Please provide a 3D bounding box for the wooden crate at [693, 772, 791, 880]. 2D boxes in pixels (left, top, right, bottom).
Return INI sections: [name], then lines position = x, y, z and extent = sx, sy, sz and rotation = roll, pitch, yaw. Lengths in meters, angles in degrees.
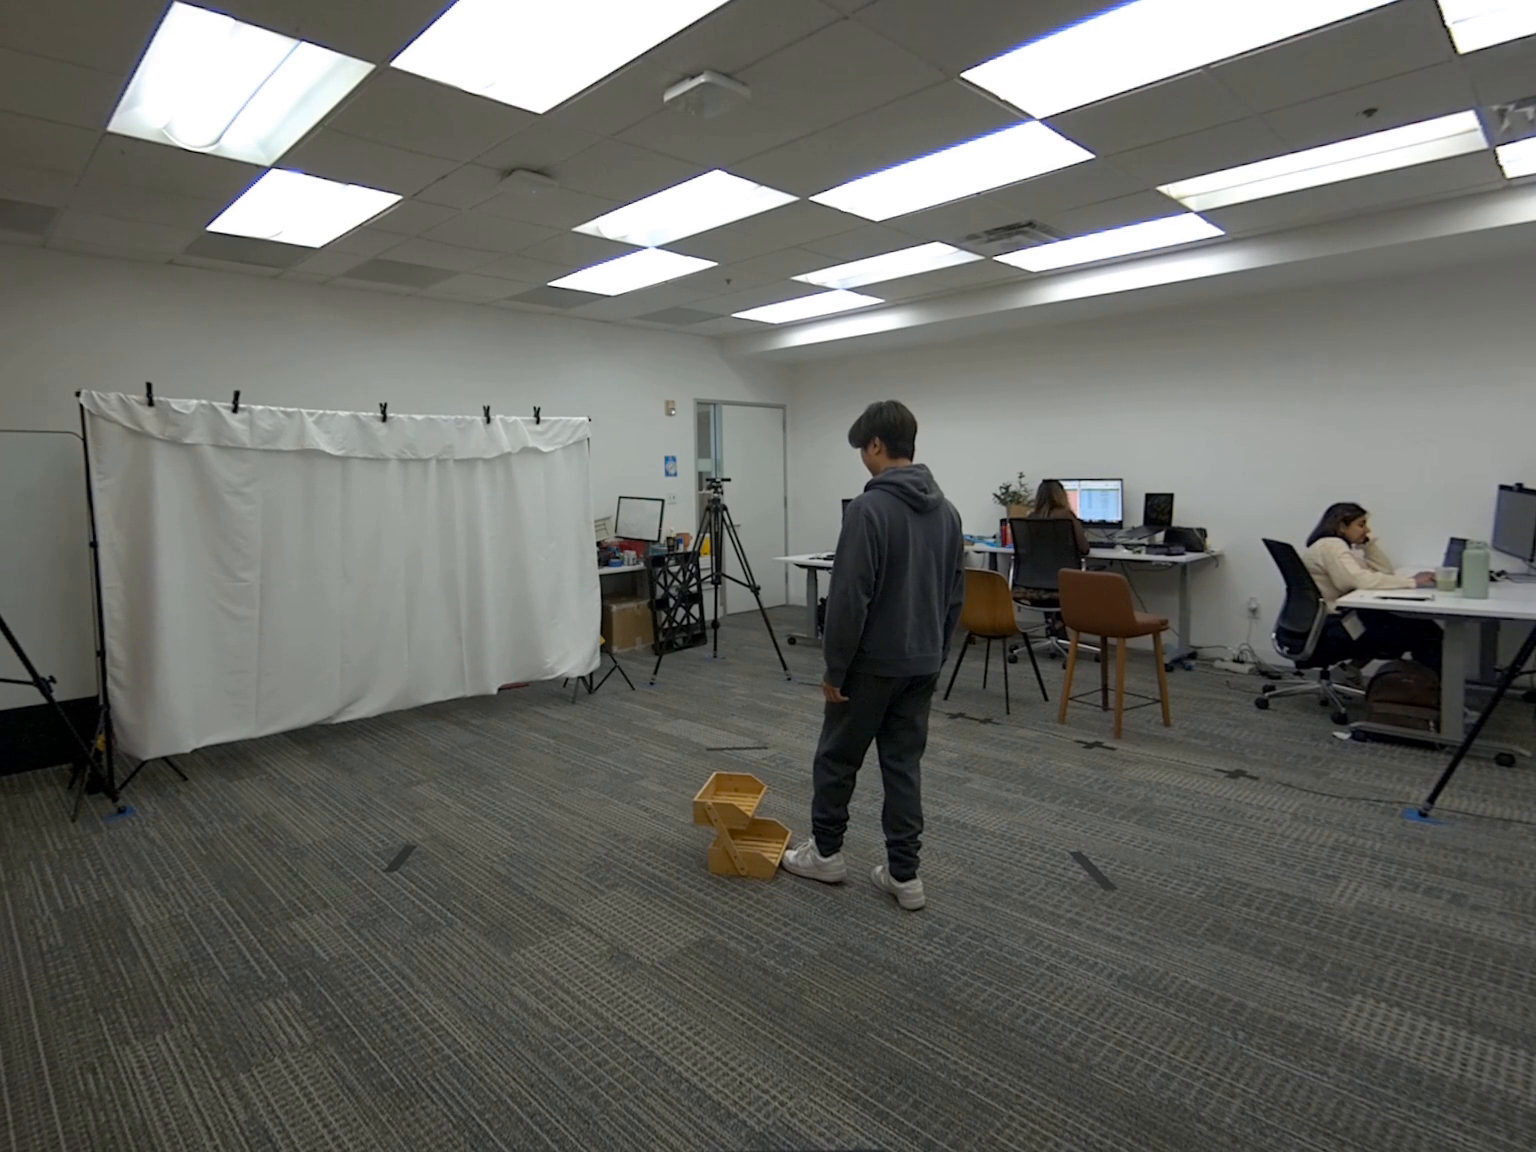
[wooden crate]
position = -0.078, 0.906, 3.149
extent = 0.306, 0.272, 0.322
rotation = 0, 5, 12
